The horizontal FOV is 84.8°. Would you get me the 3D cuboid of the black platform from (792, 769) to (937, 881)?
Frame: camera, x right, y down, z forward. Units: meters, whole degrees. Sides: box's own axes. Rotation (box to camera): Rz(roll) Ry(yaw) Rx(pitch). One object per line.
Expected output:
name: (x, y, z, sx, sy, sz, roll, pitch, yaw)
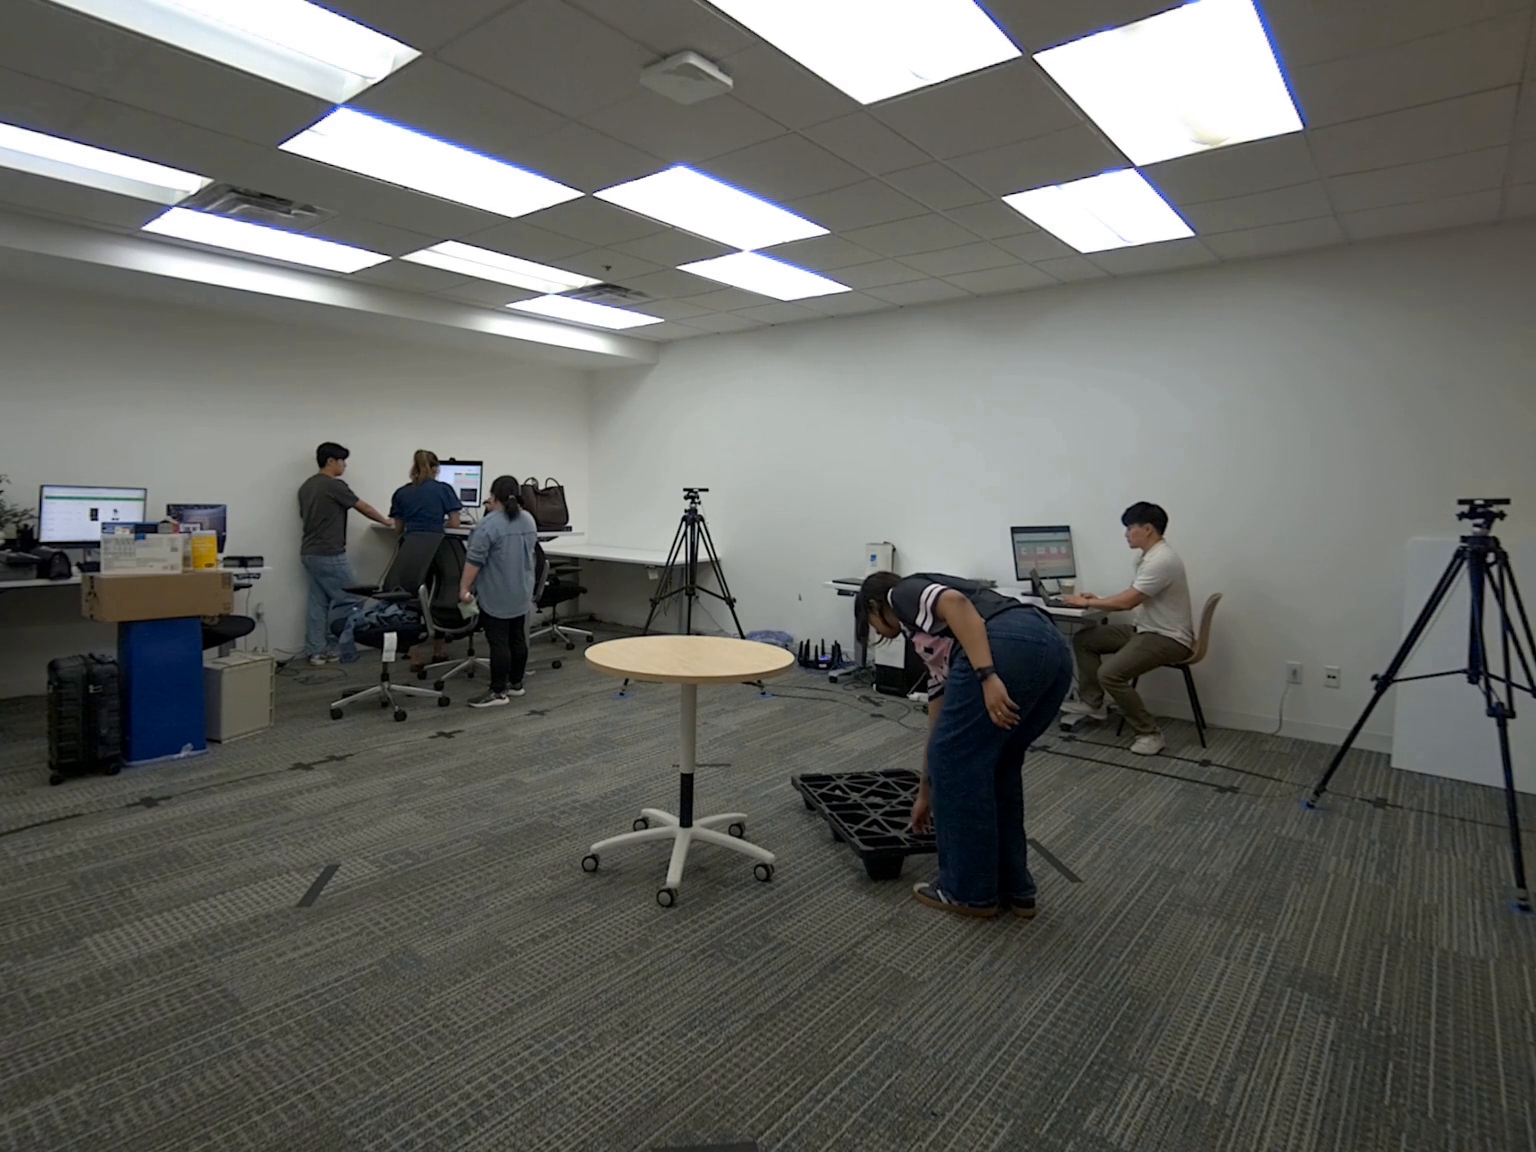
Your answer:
black platform: (0.485, 0.984, 3.449, 0.596, 0.143, 0.822, -1, 6, -16)
